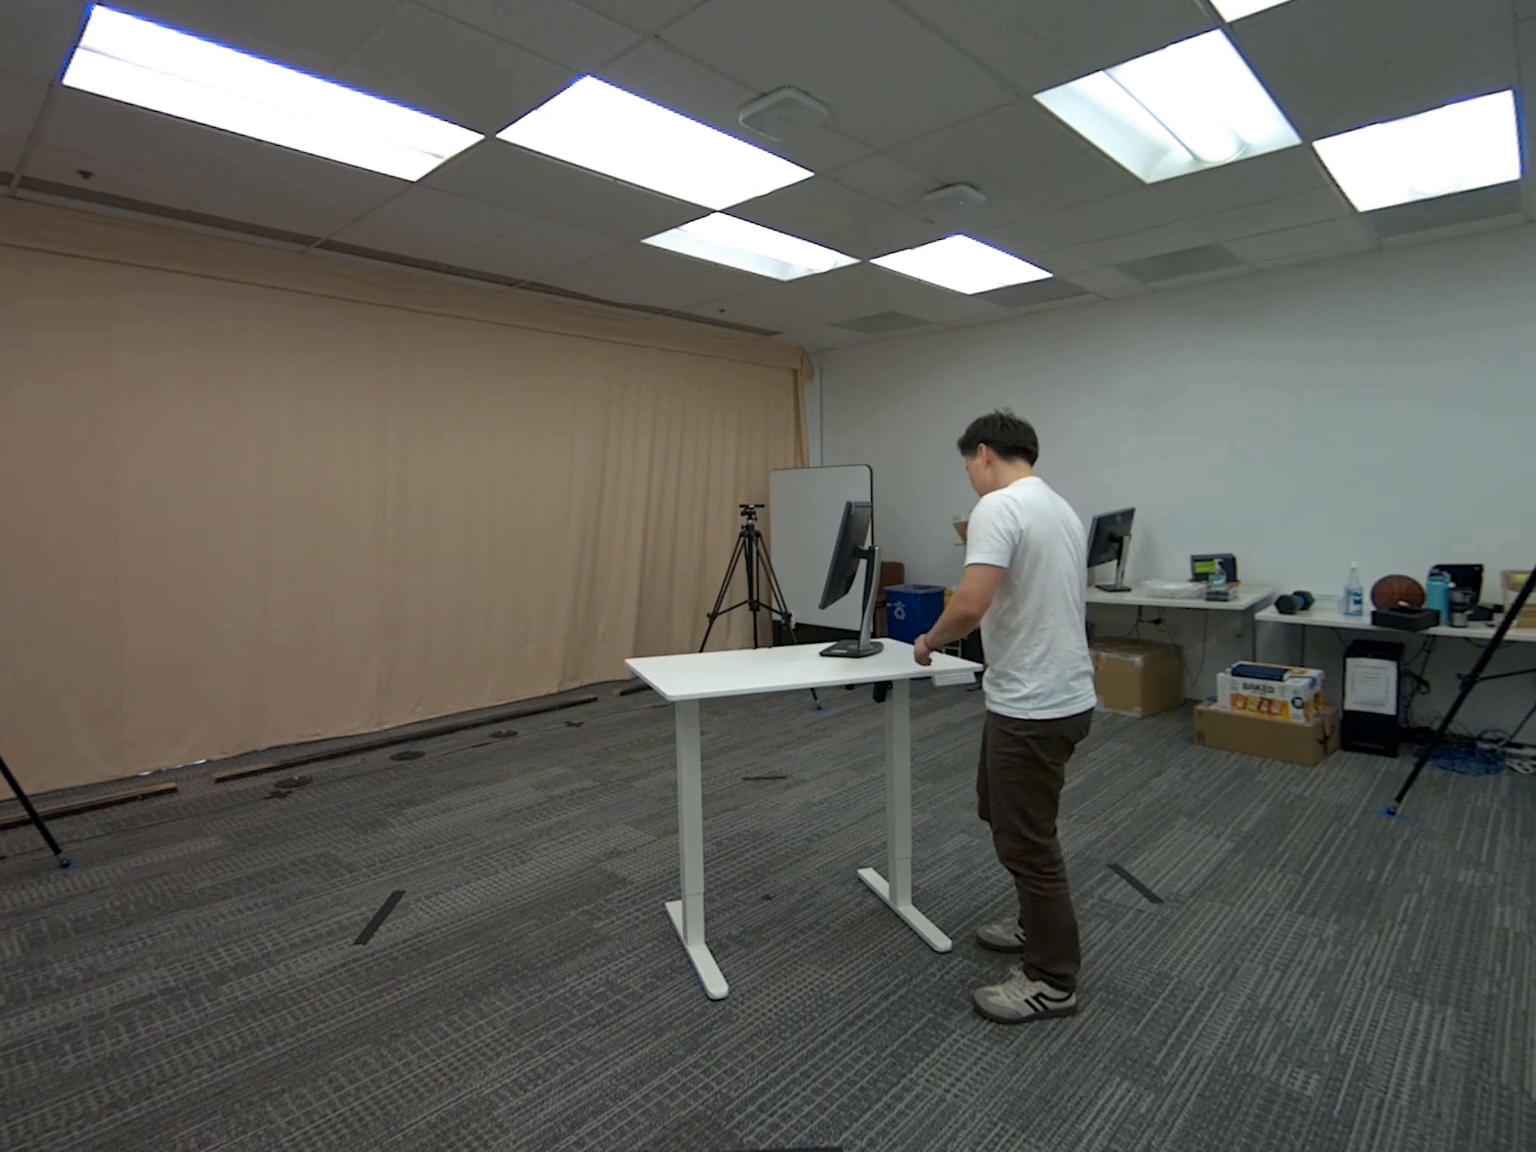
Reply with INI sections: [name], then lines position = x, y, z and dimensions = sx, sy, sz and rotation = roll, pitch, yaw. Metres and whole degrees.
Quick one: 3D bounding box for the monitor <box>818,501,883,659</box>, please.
[monitor]
position = 0.304, 0.008, 2.878
dimensions = 0.190, 0.521, 0.531
rotation = 1, 4, 14
